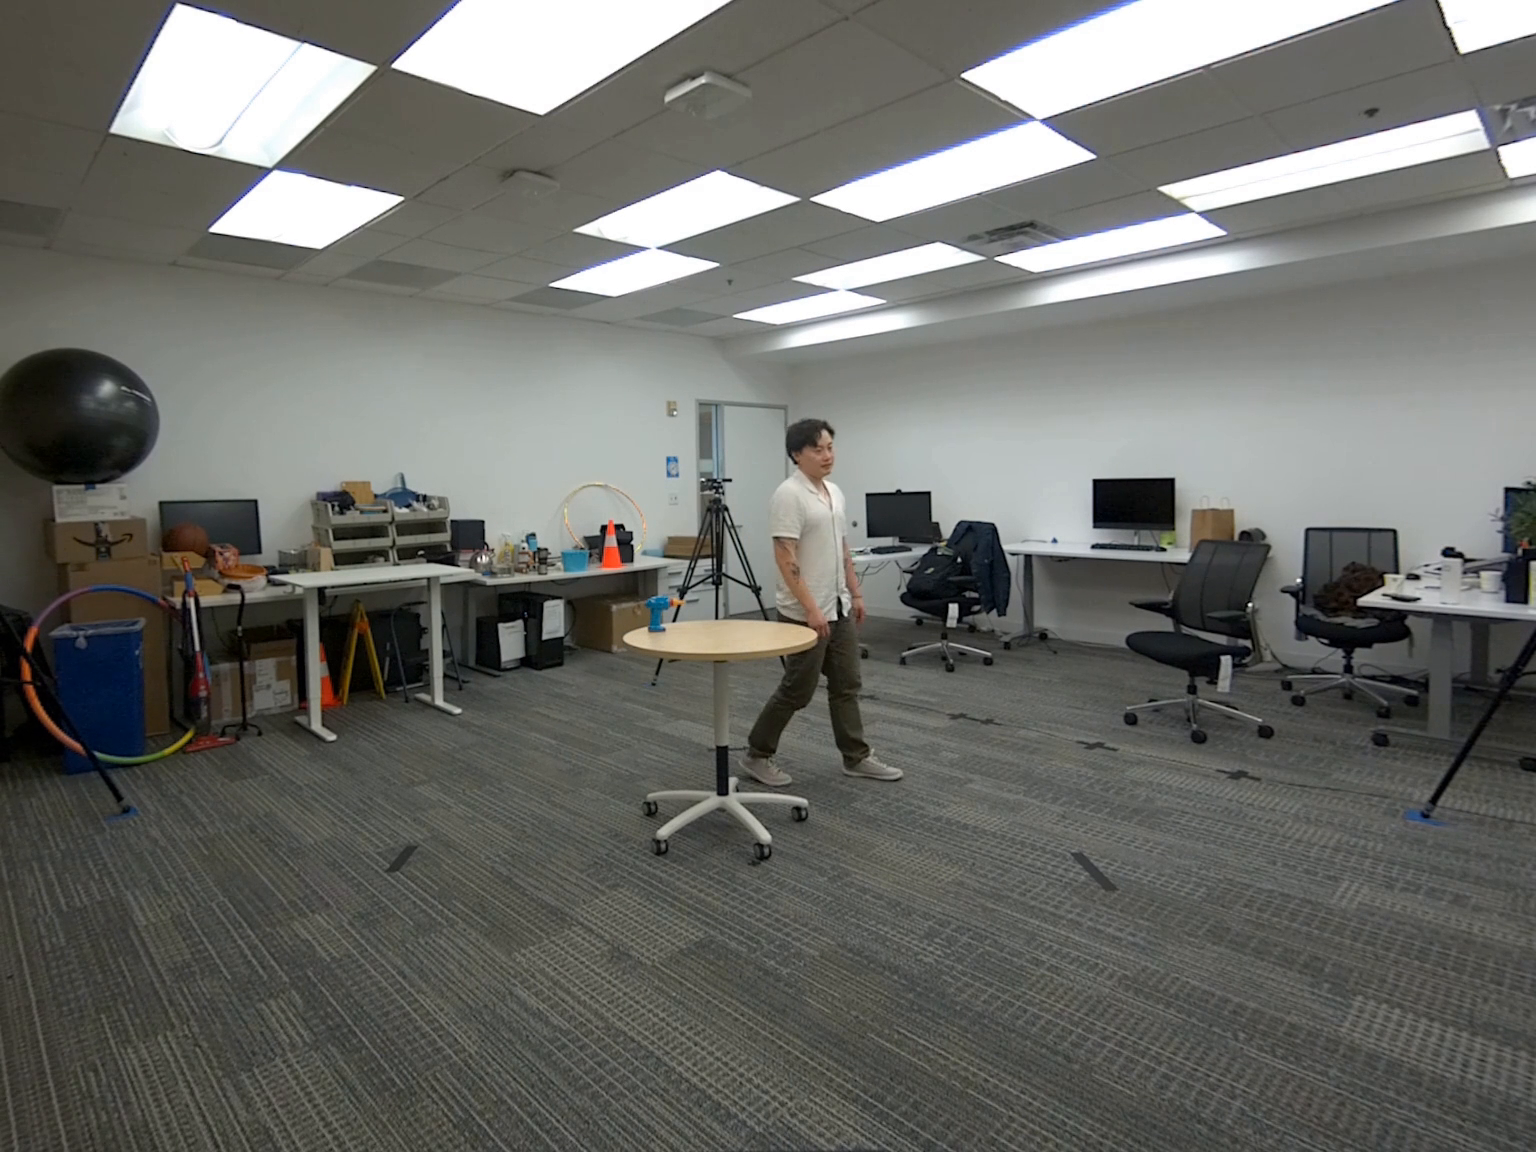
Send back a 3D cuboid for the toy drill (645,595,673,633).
[{"bbox_3d":[-0.414,0.149,3.494,0.167,0.145,0.062,-3,4,-21],"label":"toy drill"}]
